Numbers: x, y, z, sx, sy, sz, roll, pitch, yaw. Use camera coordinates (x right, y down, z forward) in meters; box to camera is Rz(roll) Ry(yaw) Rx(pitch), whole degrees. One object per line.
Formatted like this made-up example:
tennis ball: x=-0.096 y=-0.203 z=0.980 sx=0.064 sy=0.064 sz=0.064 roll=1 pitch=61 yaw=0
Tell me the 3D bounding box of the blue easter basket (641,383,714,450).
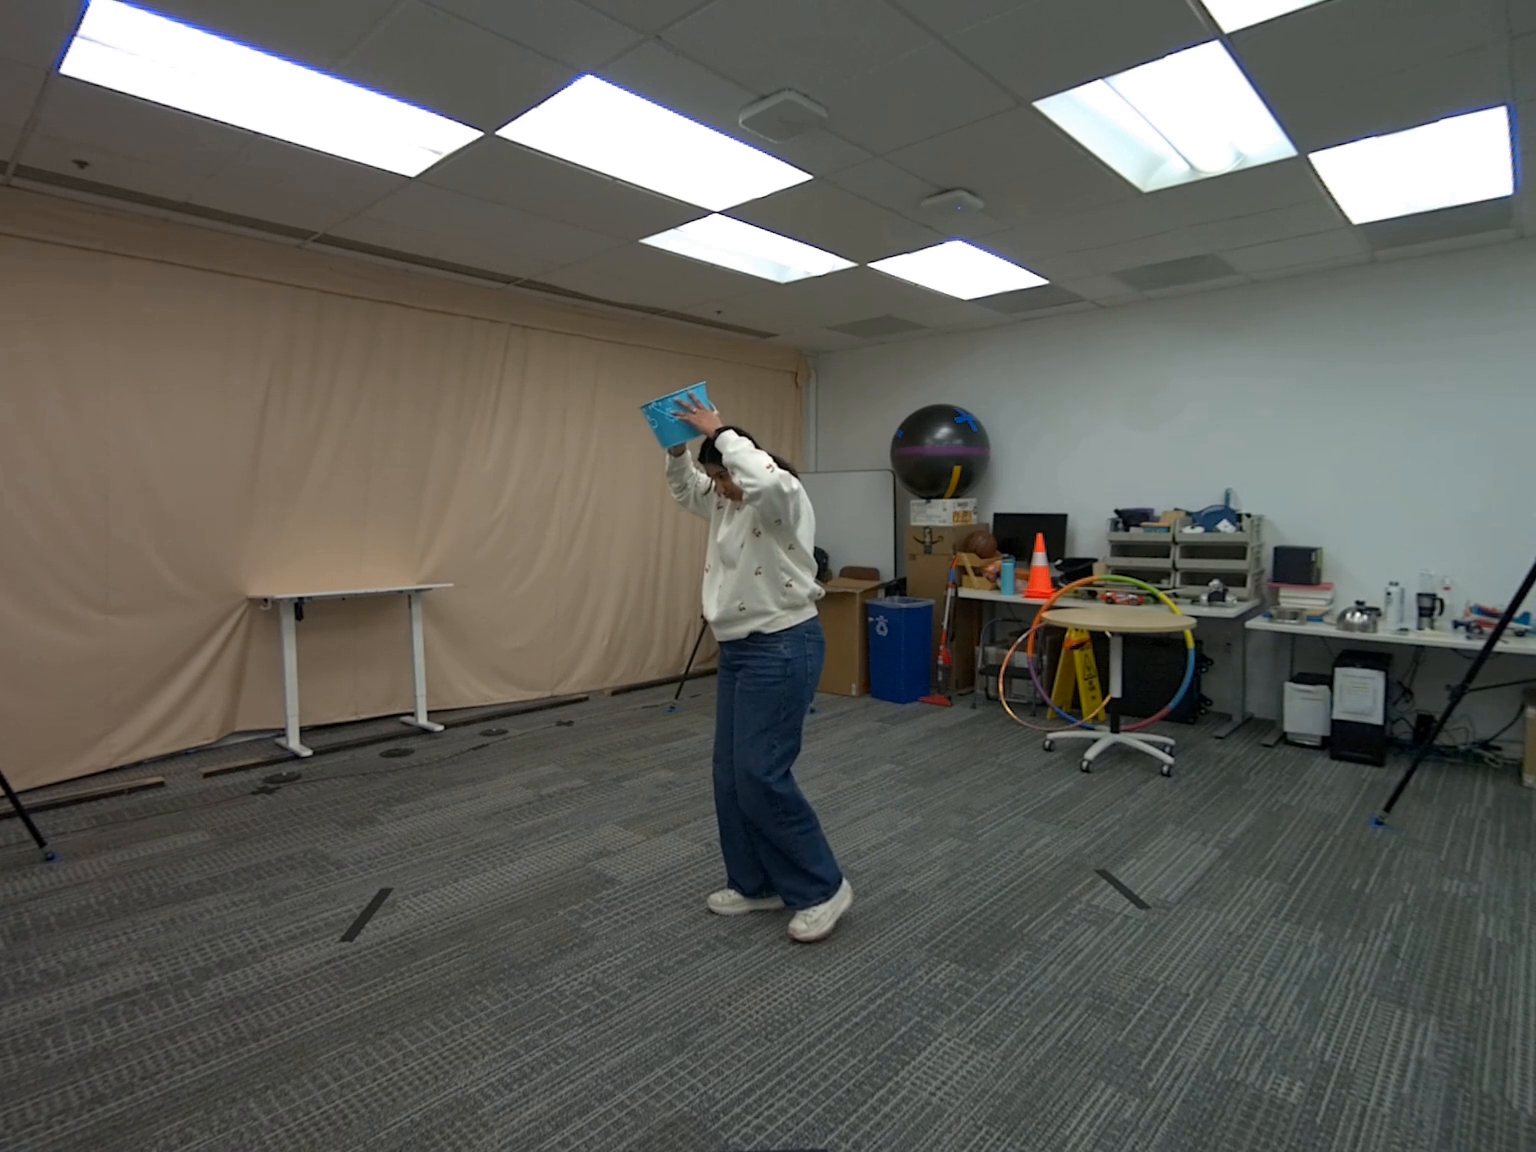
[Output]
blue easter basket: x=-0.278 y=-0.508 z=2.683 sx=0.244 sy=0.154 sz=0.246 roll=-21 pitch=12 yaw=2
